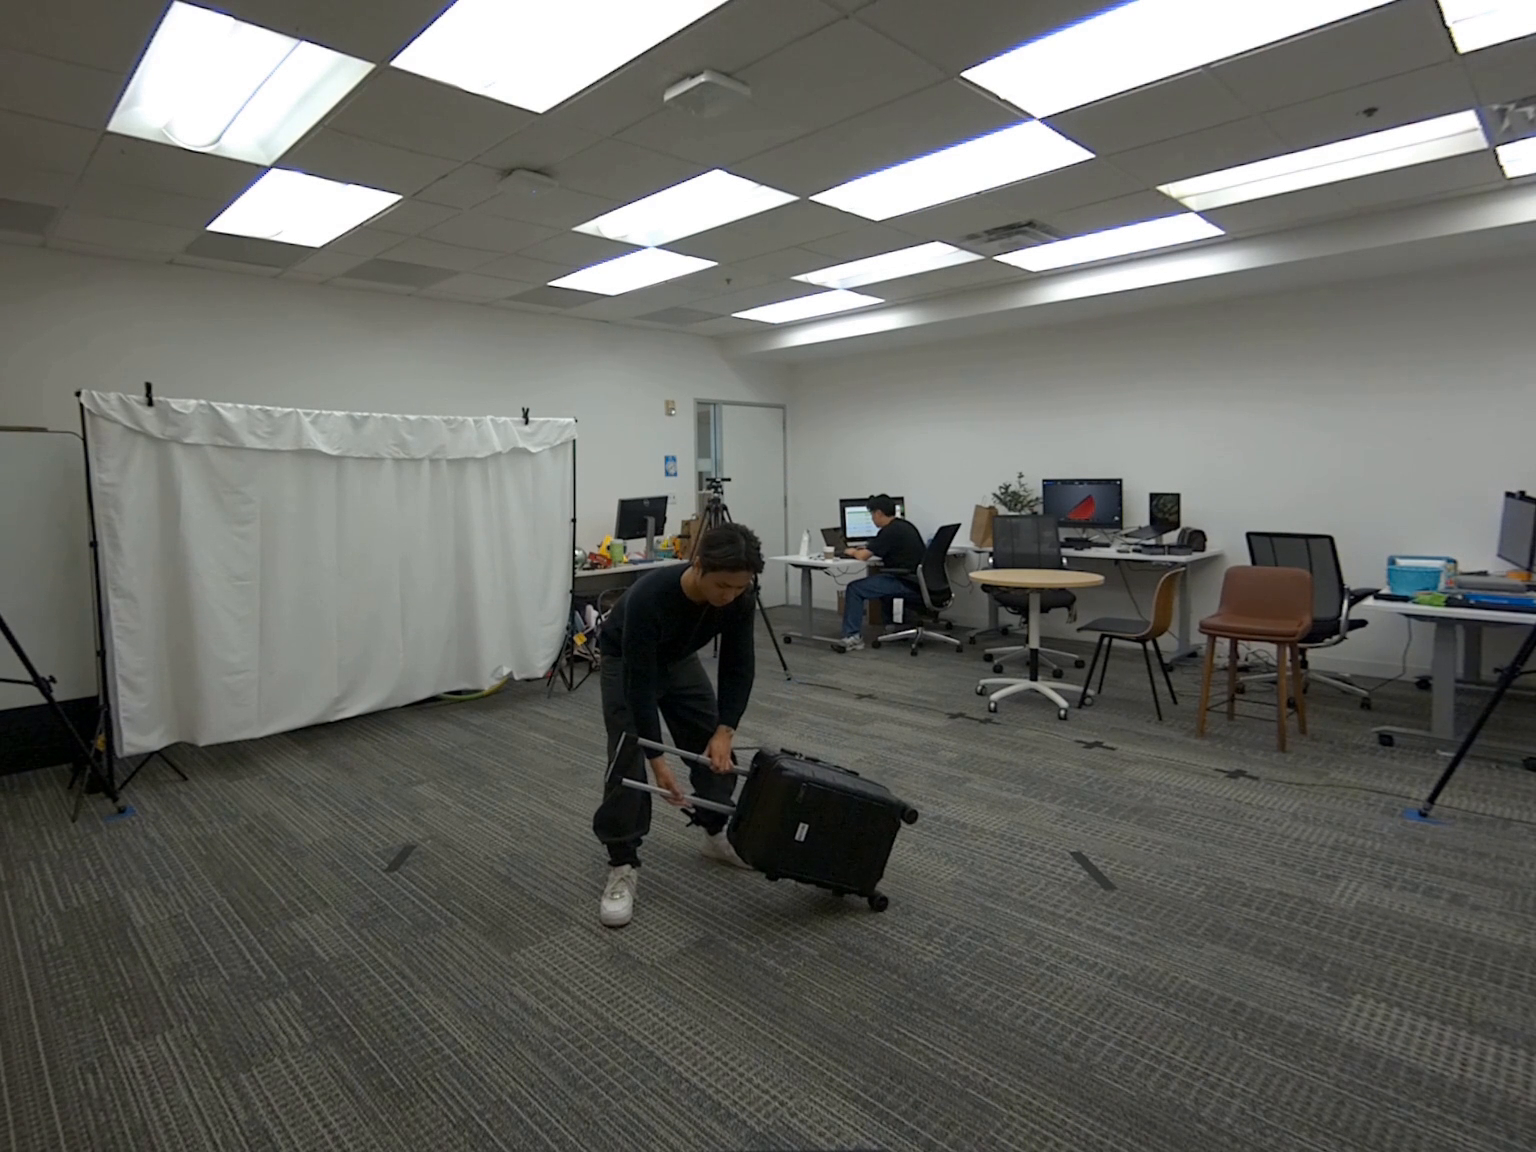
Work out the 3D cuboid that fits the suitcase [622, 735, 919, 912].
[{"bbox_3d":[-0.003,0.719,2.684,0.951,0.385,0.264,23,-5,-25],"label":"suitcase"}]
